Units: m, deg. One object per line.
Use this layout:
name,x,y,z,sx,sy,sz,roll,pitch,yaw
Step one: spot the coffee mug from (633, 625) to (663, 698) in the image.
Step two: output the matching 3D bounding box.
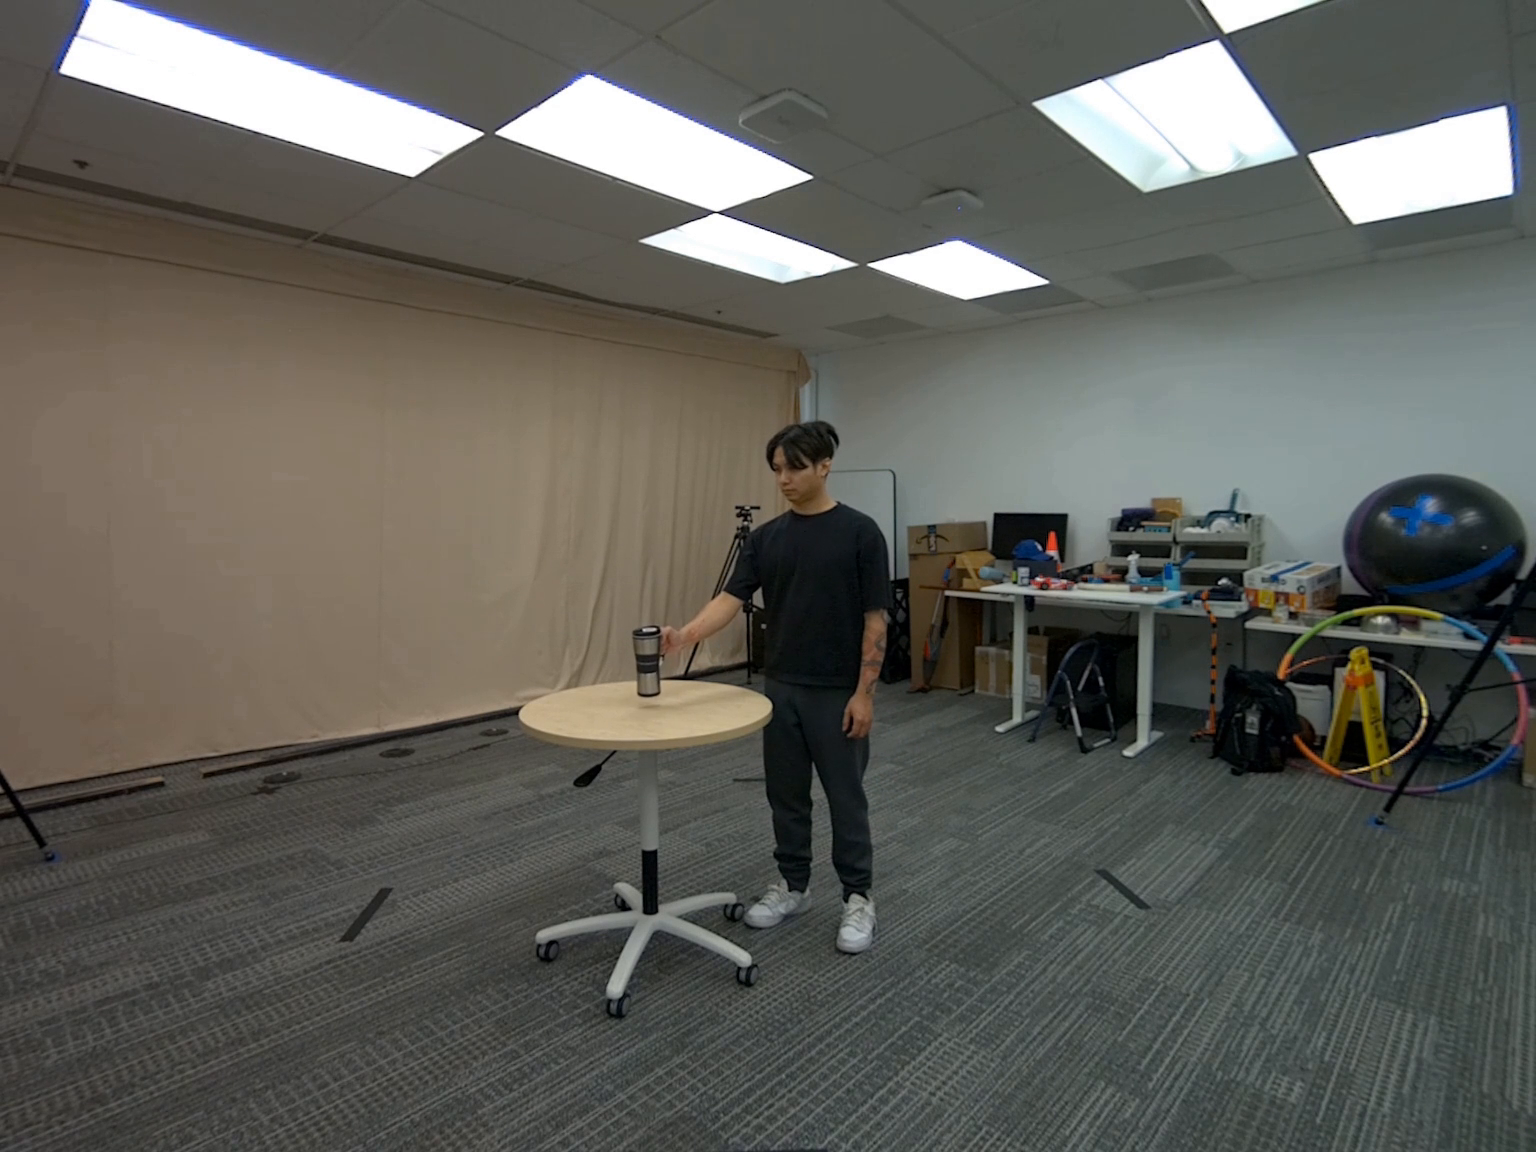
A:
coffee mug,-0.344,0.259,2.564,0.119,0.202,0.091,-11,9,-38
